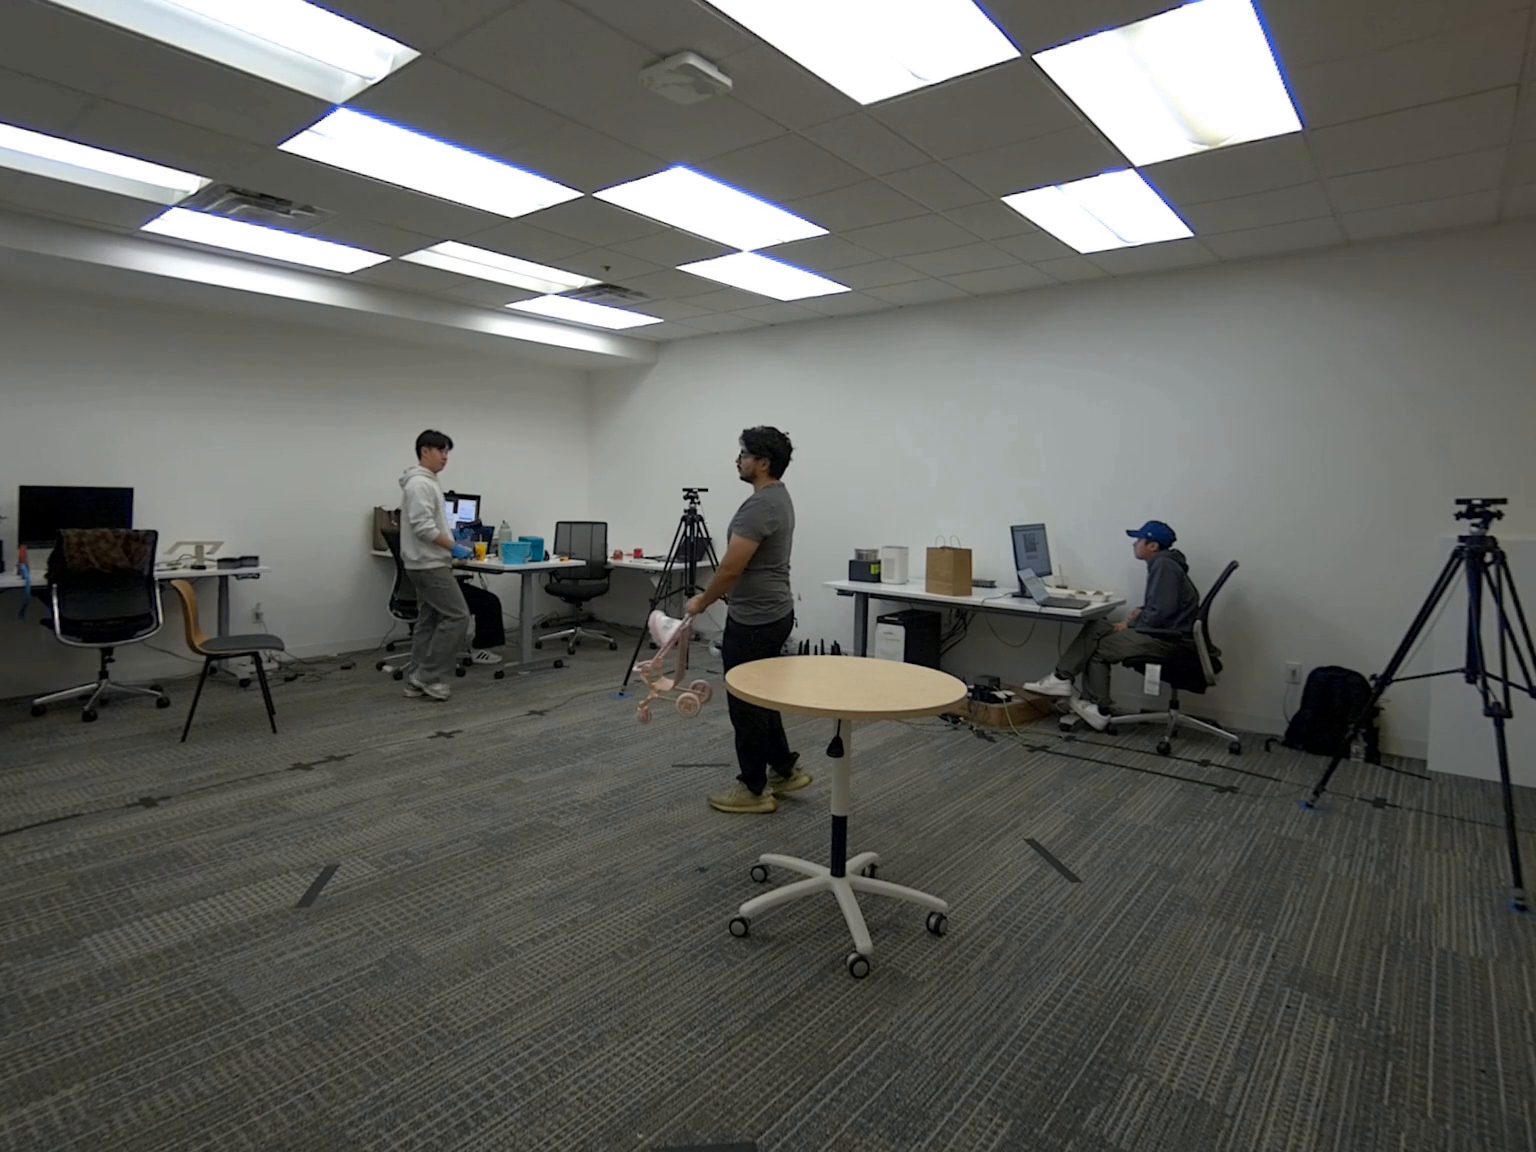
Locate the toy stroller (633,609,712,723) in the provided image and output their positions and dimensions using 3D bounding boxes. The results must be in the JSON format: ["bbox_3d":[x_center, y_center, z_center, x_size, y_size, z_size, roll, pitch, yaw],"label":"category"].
[{"bbox_3d":[-0.450,0.396,3.782,0.347,0.533,0.278,-3,4,15],"label":"toy stroller"}]
